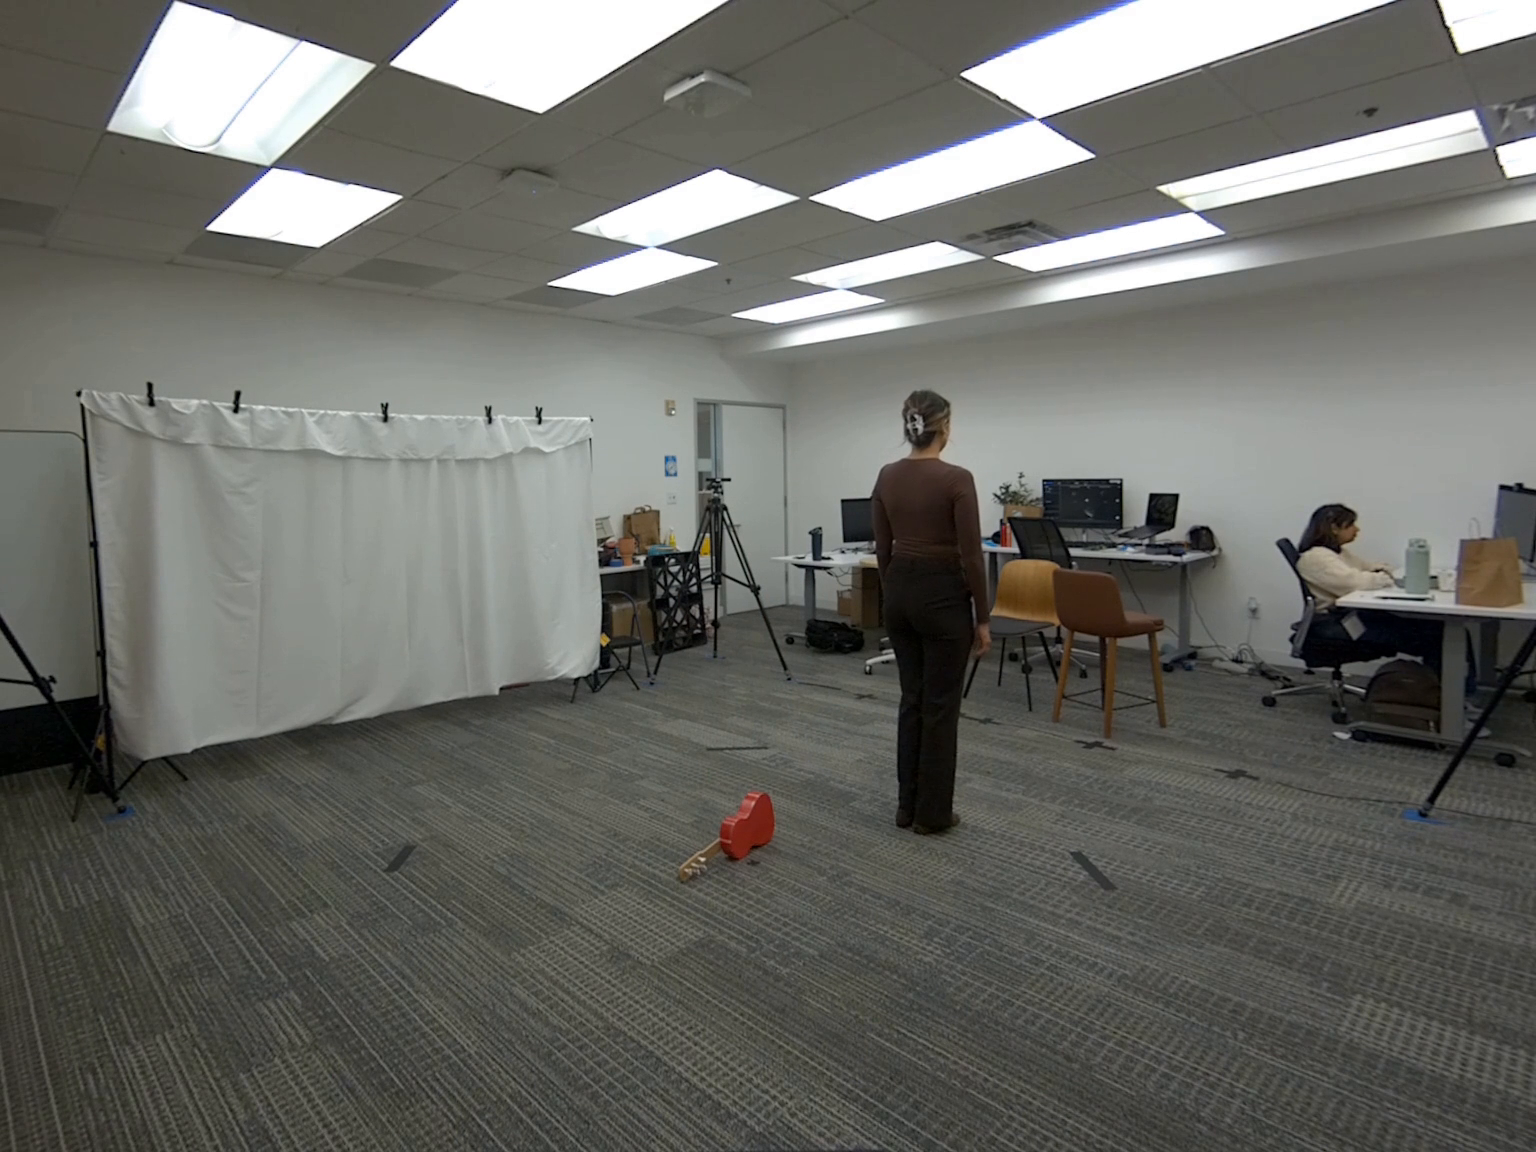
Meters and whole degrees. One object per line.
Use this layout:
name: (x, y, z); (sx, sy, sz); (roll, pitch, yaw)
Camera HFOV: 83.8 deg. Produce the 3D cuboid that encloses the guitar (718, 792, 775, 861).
guitar: (-0.137, 0.998, 3.139); (0.073, 0.189, 0.493); (1, 24, 37)
